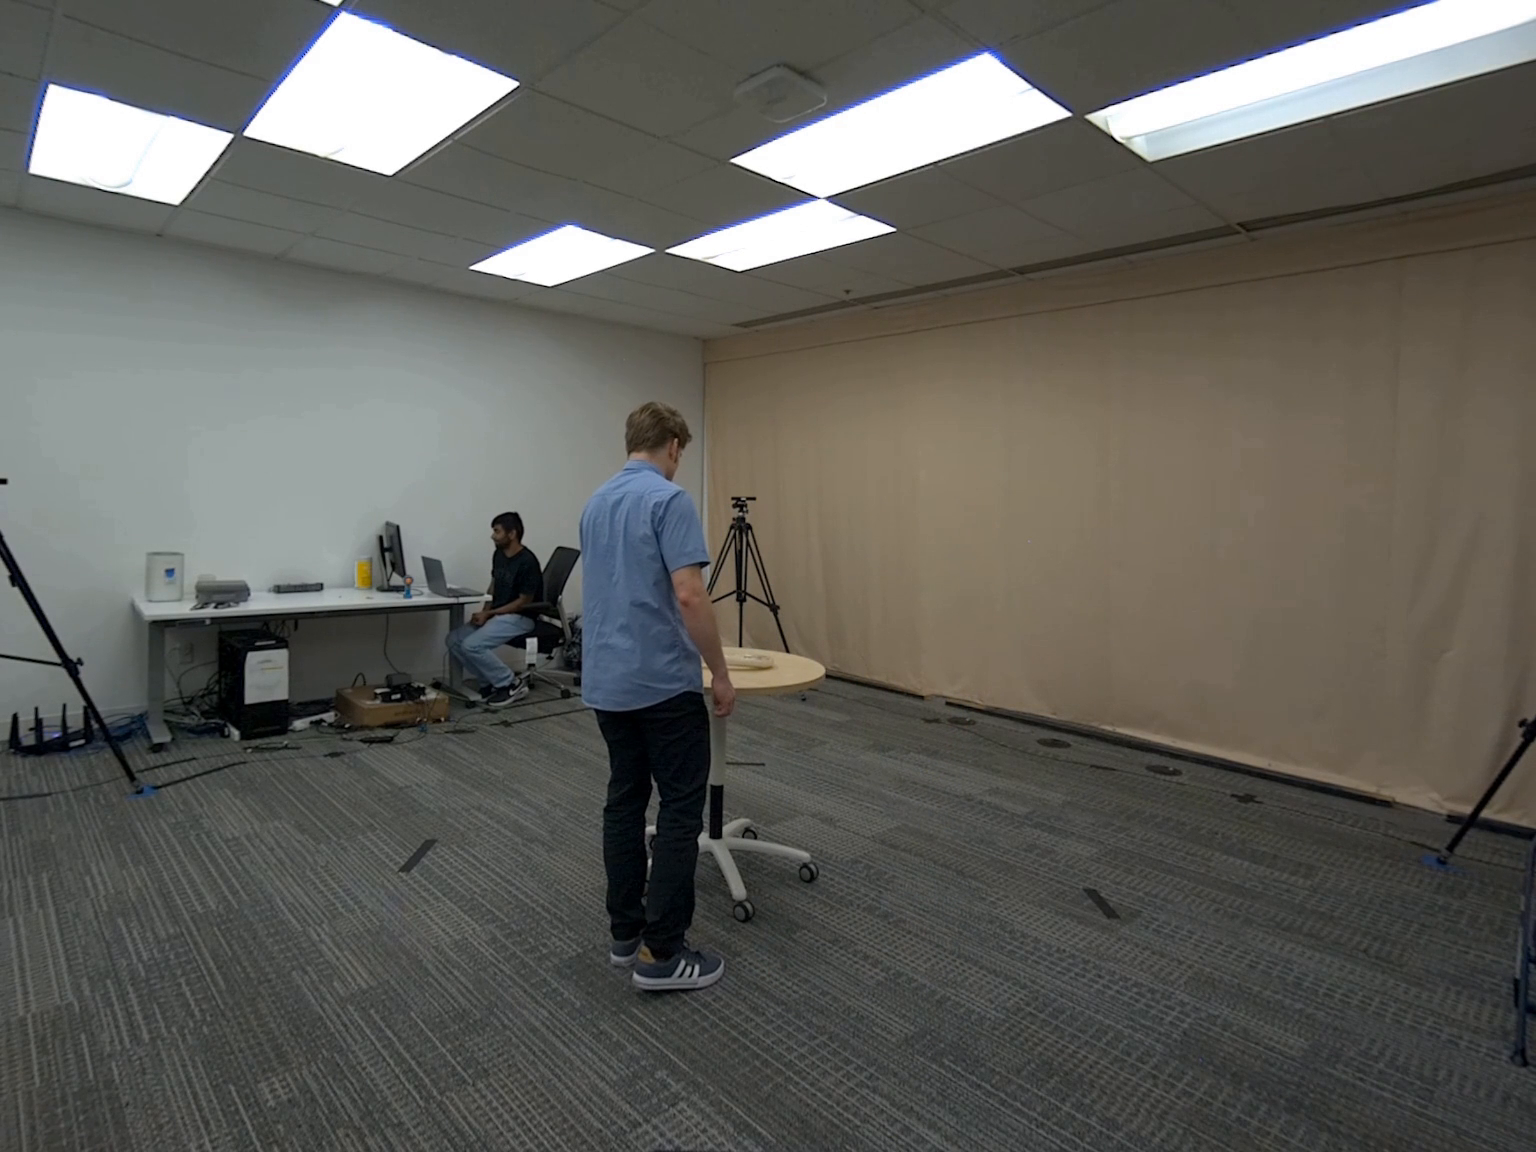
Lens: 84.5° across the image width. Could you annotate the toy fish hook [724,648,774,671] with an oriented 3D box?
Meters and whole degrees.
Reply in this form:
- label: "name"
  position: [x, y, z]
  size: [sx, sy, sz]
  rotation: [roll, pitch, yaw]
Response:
- label: "toy fish hook"
  position: [-0.235, 0.305, 3.068]
  size: [0.504, 0.048, 0.225]
  rotation: [5, -4, -6]
